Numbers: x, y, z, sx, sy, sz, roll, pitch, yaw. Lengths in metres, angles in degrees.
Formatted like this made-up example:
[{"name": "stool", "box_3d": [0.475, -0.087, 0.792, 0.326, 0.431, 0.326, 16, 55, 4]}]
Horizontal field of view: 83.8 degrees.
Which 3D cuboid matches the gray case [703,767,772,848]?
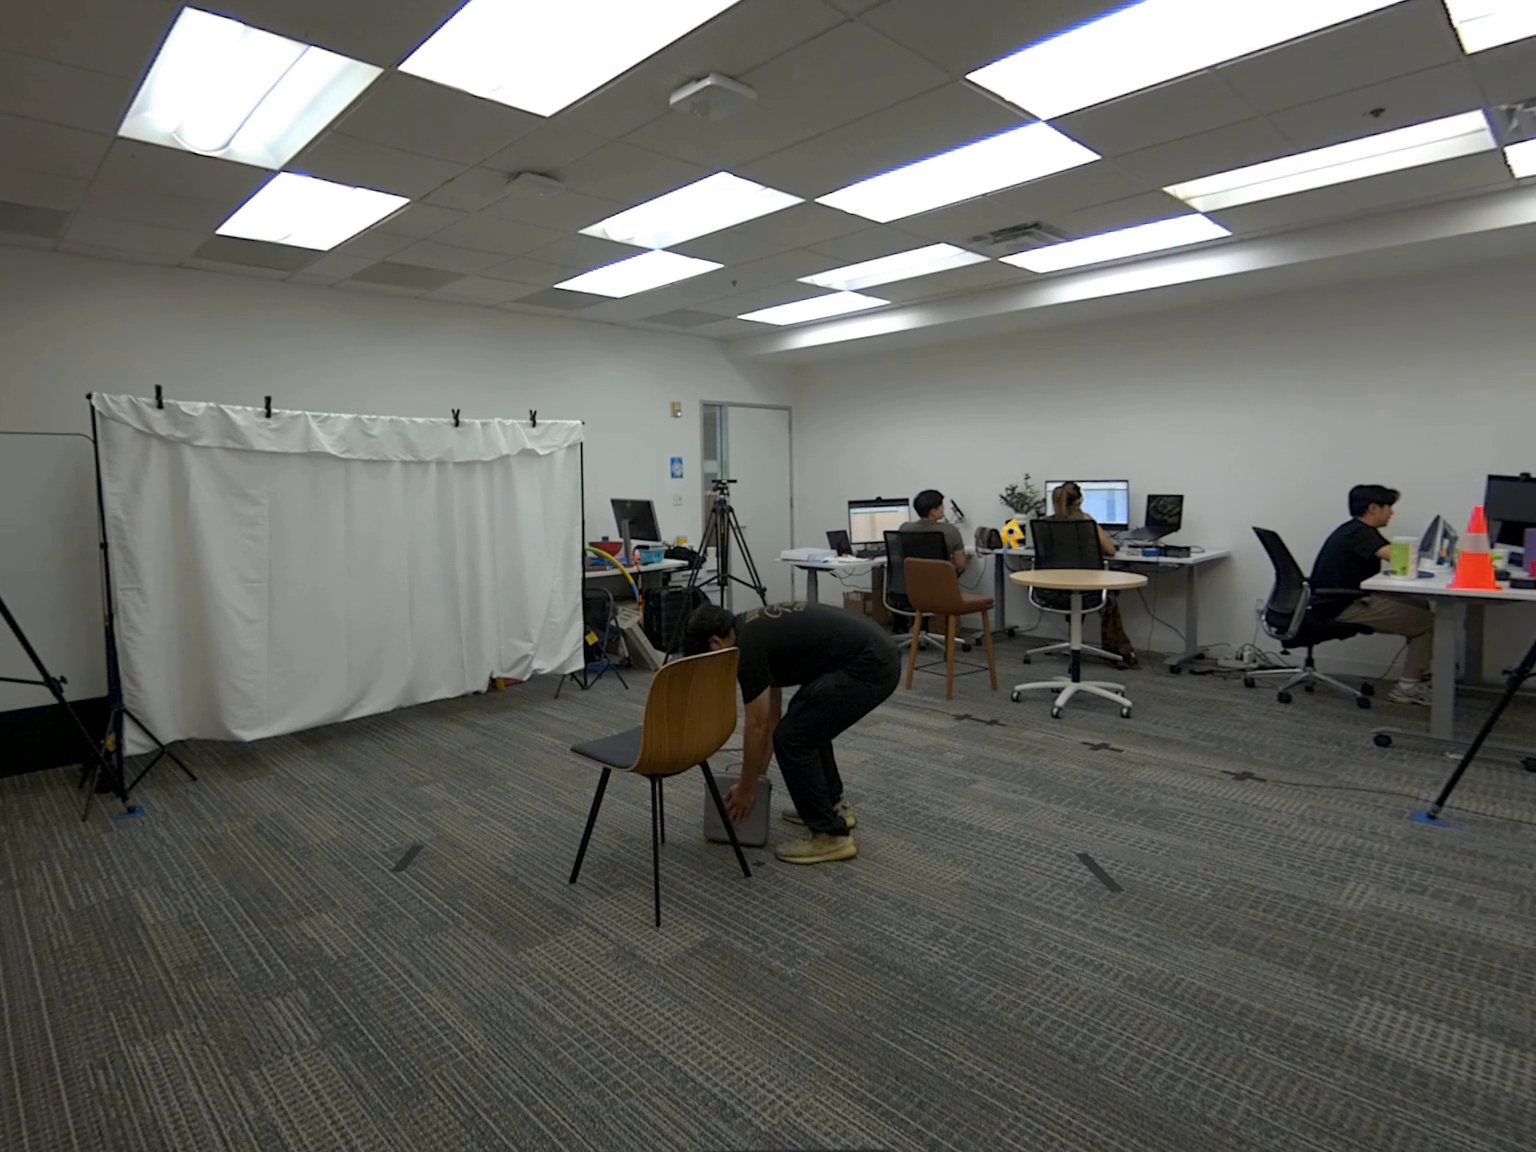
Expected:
[{"name": "gray case", "box_3d": [-0.122, 0.899, 3.319, 0.260, 0.263, 0.102, 0, -10, 14]}]
